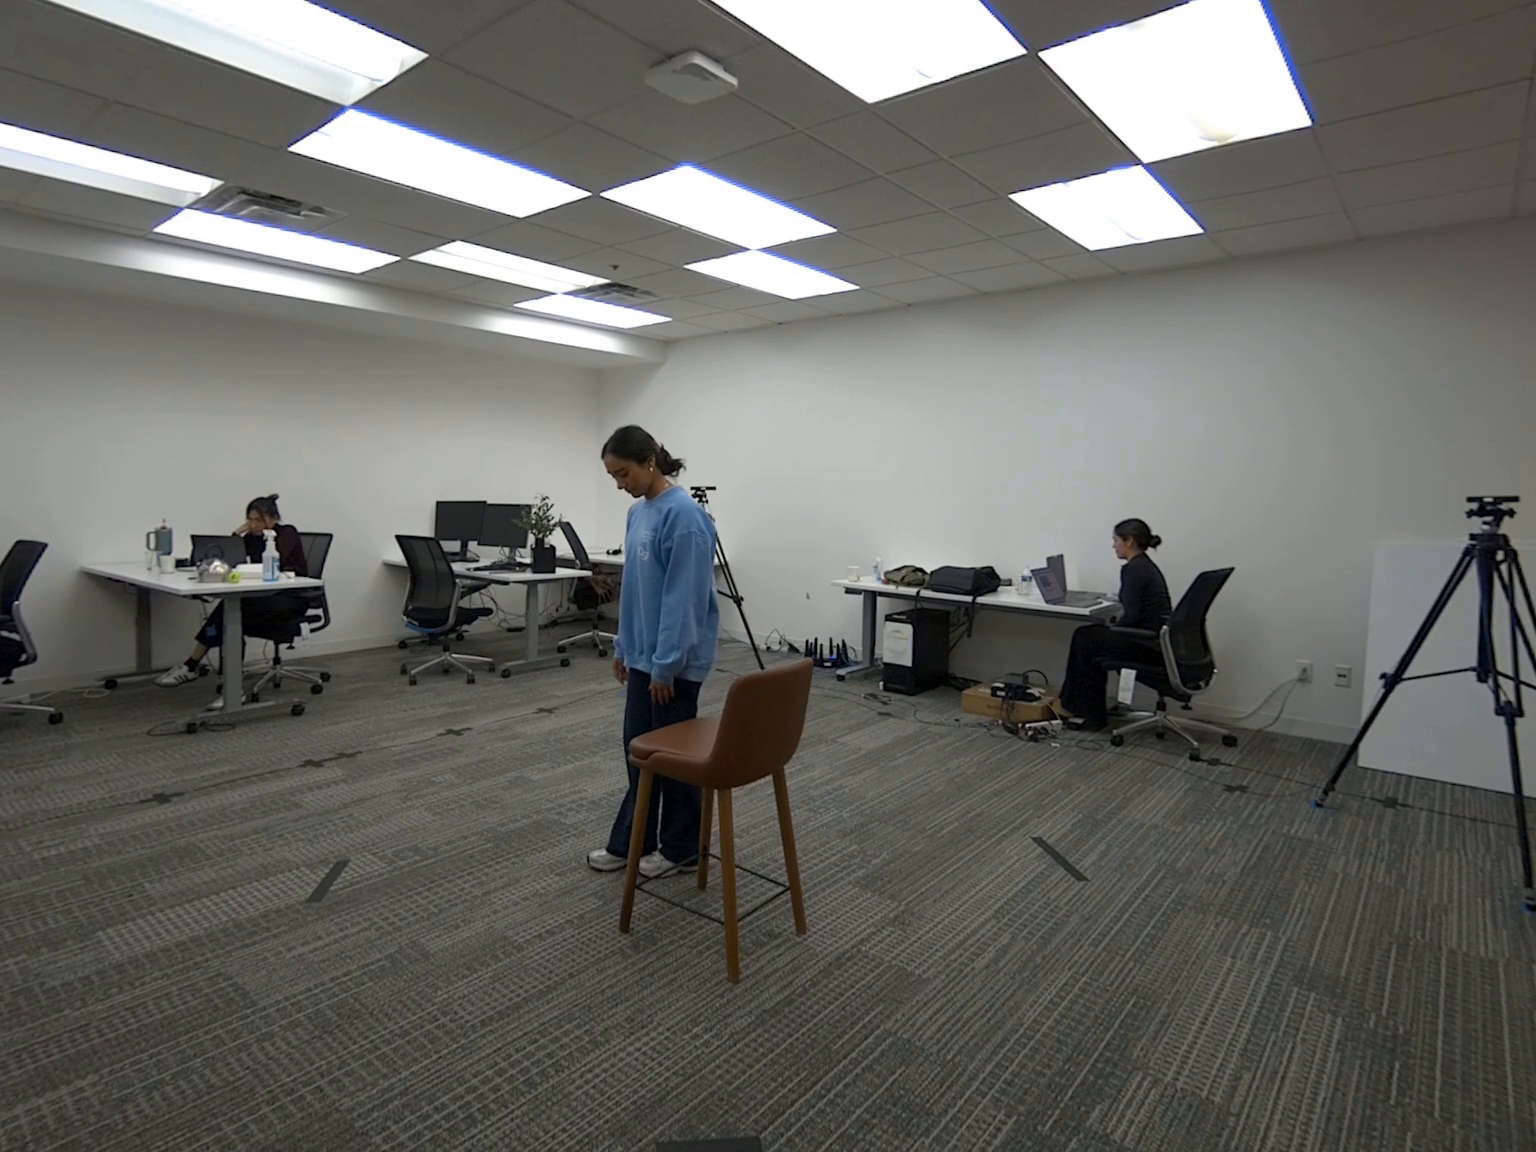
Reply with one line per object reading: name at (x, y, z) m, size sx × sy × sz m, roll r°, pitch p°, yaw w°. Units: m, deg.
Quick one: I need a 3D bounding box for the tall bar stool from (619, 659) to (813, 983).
tall bar stool at (-0.159, 0.673, 2.641) m, size 0.483 × 0.886 × 0.443 m, roll 6°, pitch 5°, yaw 38°
